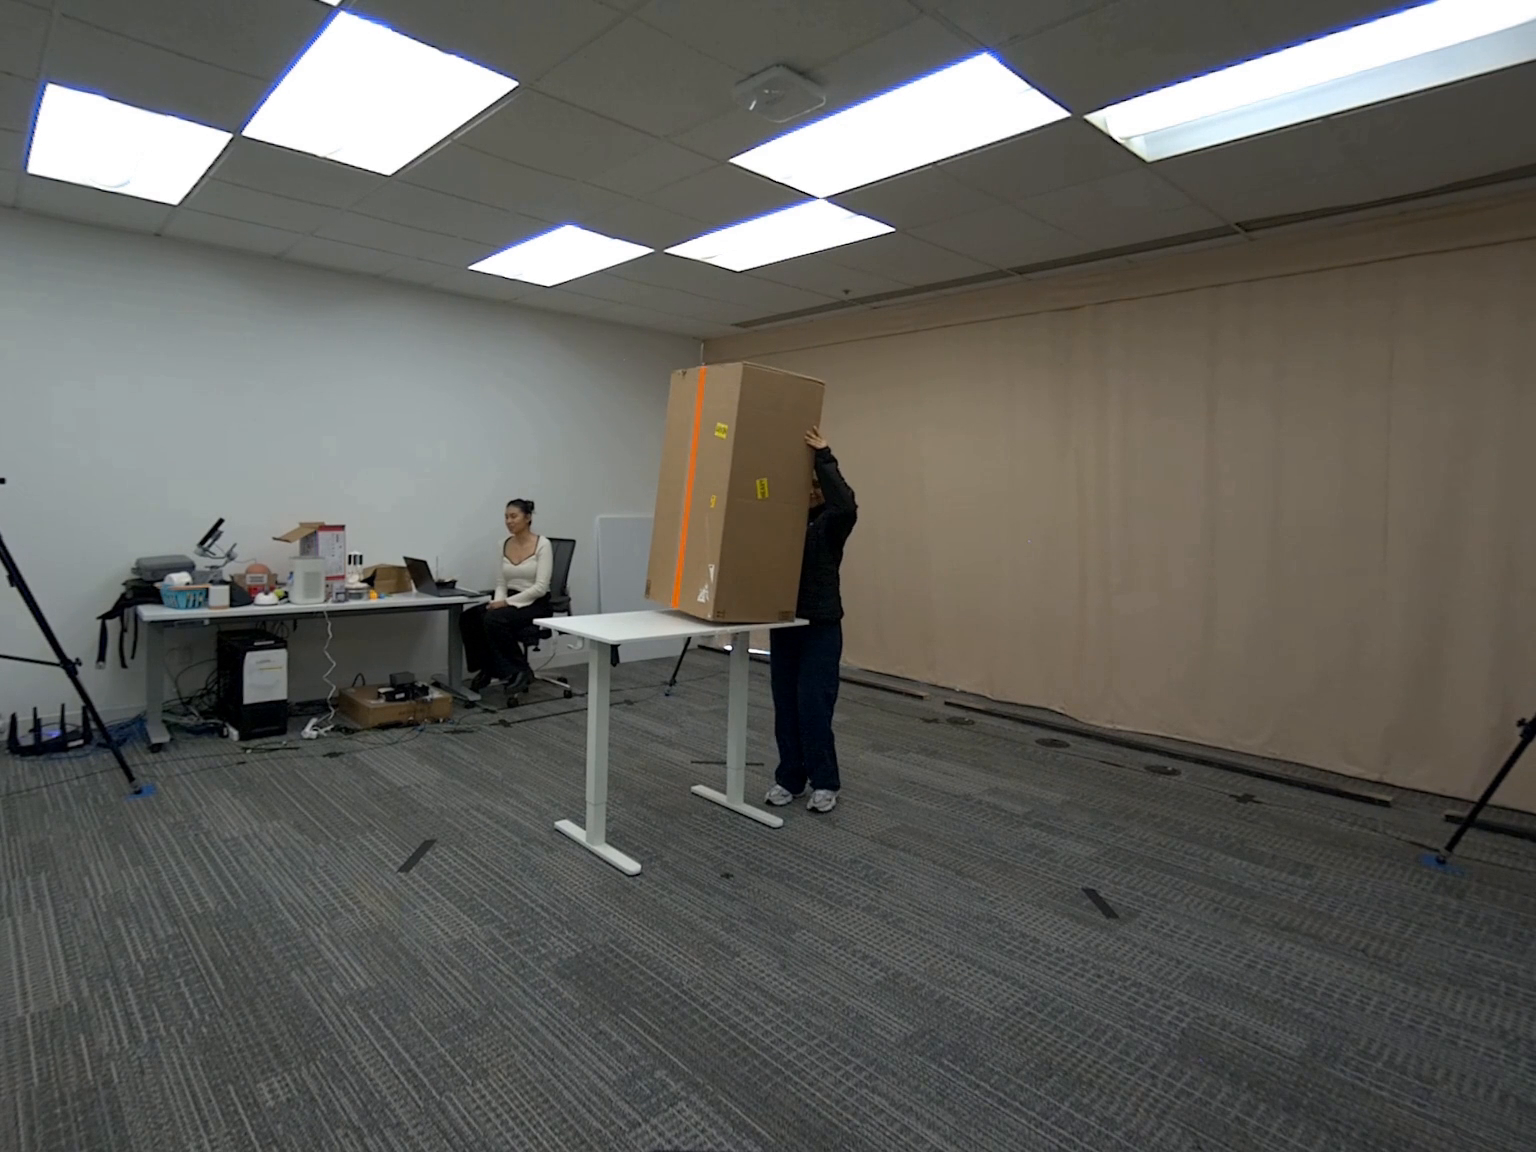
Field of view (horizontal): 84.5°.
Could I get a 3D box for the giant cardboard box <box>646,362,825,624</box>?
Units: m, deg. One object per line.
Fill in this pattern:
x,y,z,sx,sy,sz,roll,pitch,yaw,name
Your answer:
-0.161,-0.351,3.622,0.436,1.025,0.599,5,4,-34,giant cardboard box
